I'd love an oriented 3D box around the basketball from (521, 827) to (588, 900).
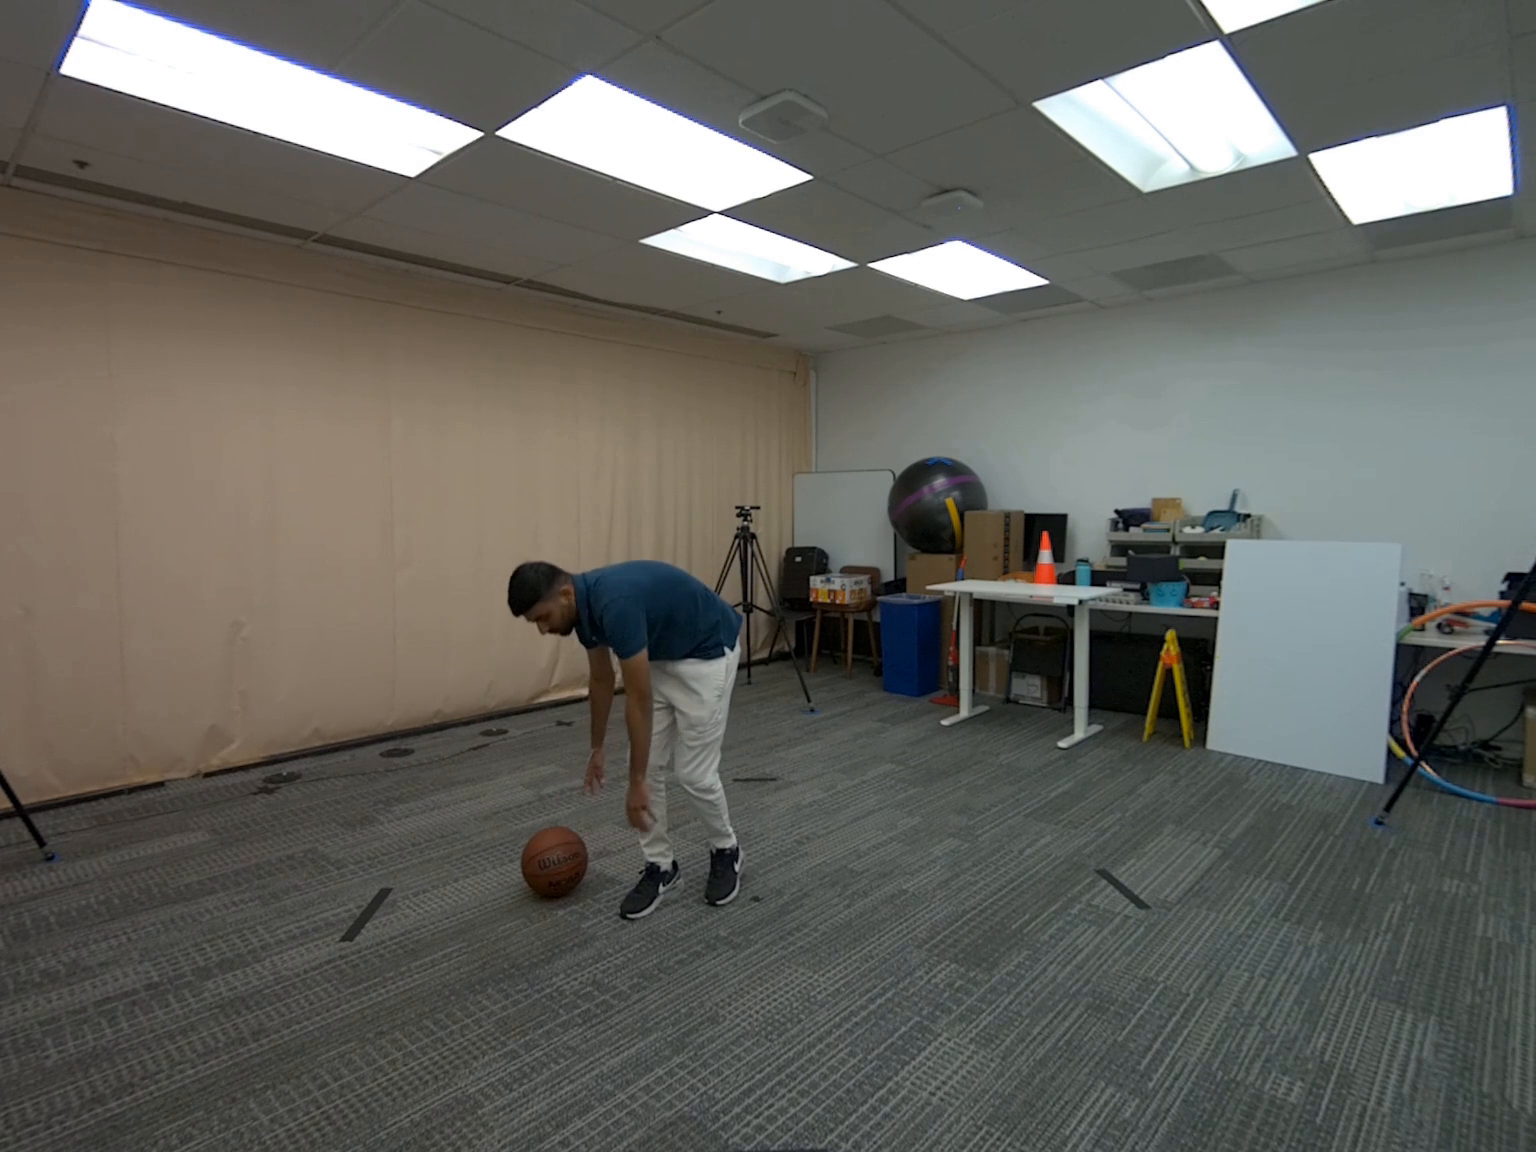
[{"bbox_3d":[-0.767,1.024,3.034,0.236,0.235,0.237,0,4,-2],"label":"basketball"}]
